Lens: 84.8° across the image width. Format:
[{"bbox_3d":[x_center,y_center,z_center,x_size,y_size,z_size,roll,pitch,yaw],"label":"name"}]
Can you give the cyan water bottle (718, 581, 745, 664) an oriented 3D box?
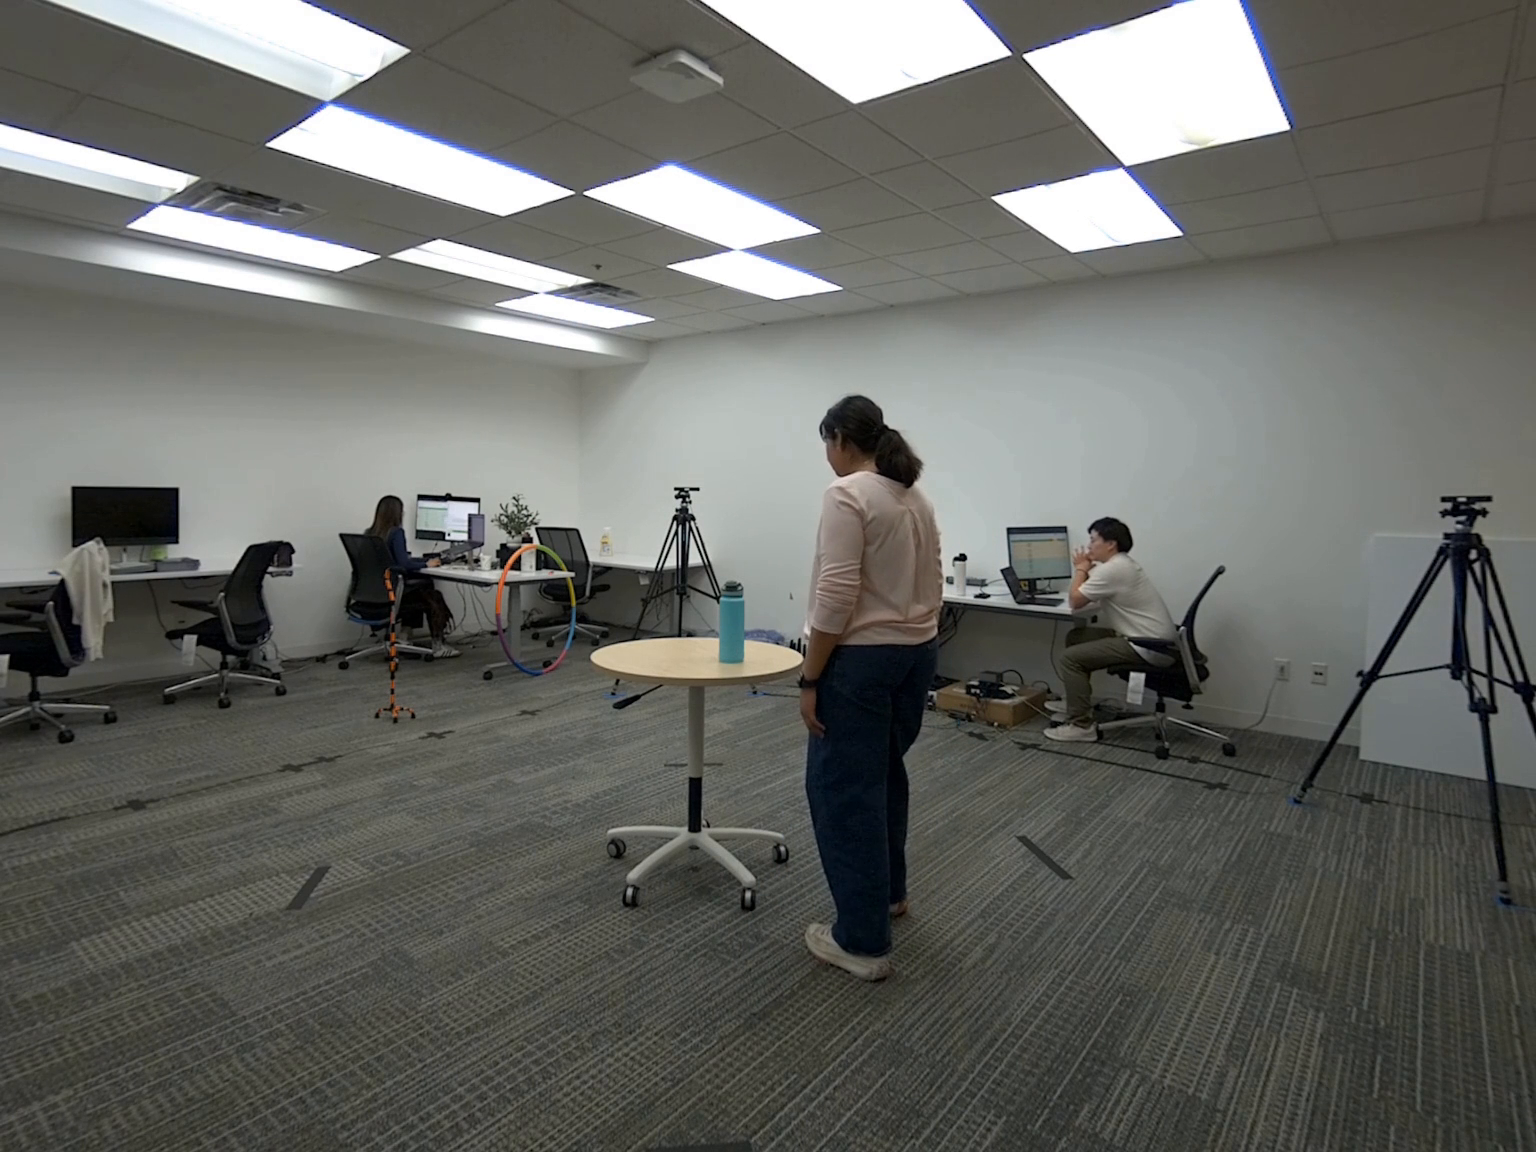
[{"bbox_3d":[-0.138,0.154,2.978,0.092,0.283,0.092,1,2,-2],"label":"cyan water bottle"}]
